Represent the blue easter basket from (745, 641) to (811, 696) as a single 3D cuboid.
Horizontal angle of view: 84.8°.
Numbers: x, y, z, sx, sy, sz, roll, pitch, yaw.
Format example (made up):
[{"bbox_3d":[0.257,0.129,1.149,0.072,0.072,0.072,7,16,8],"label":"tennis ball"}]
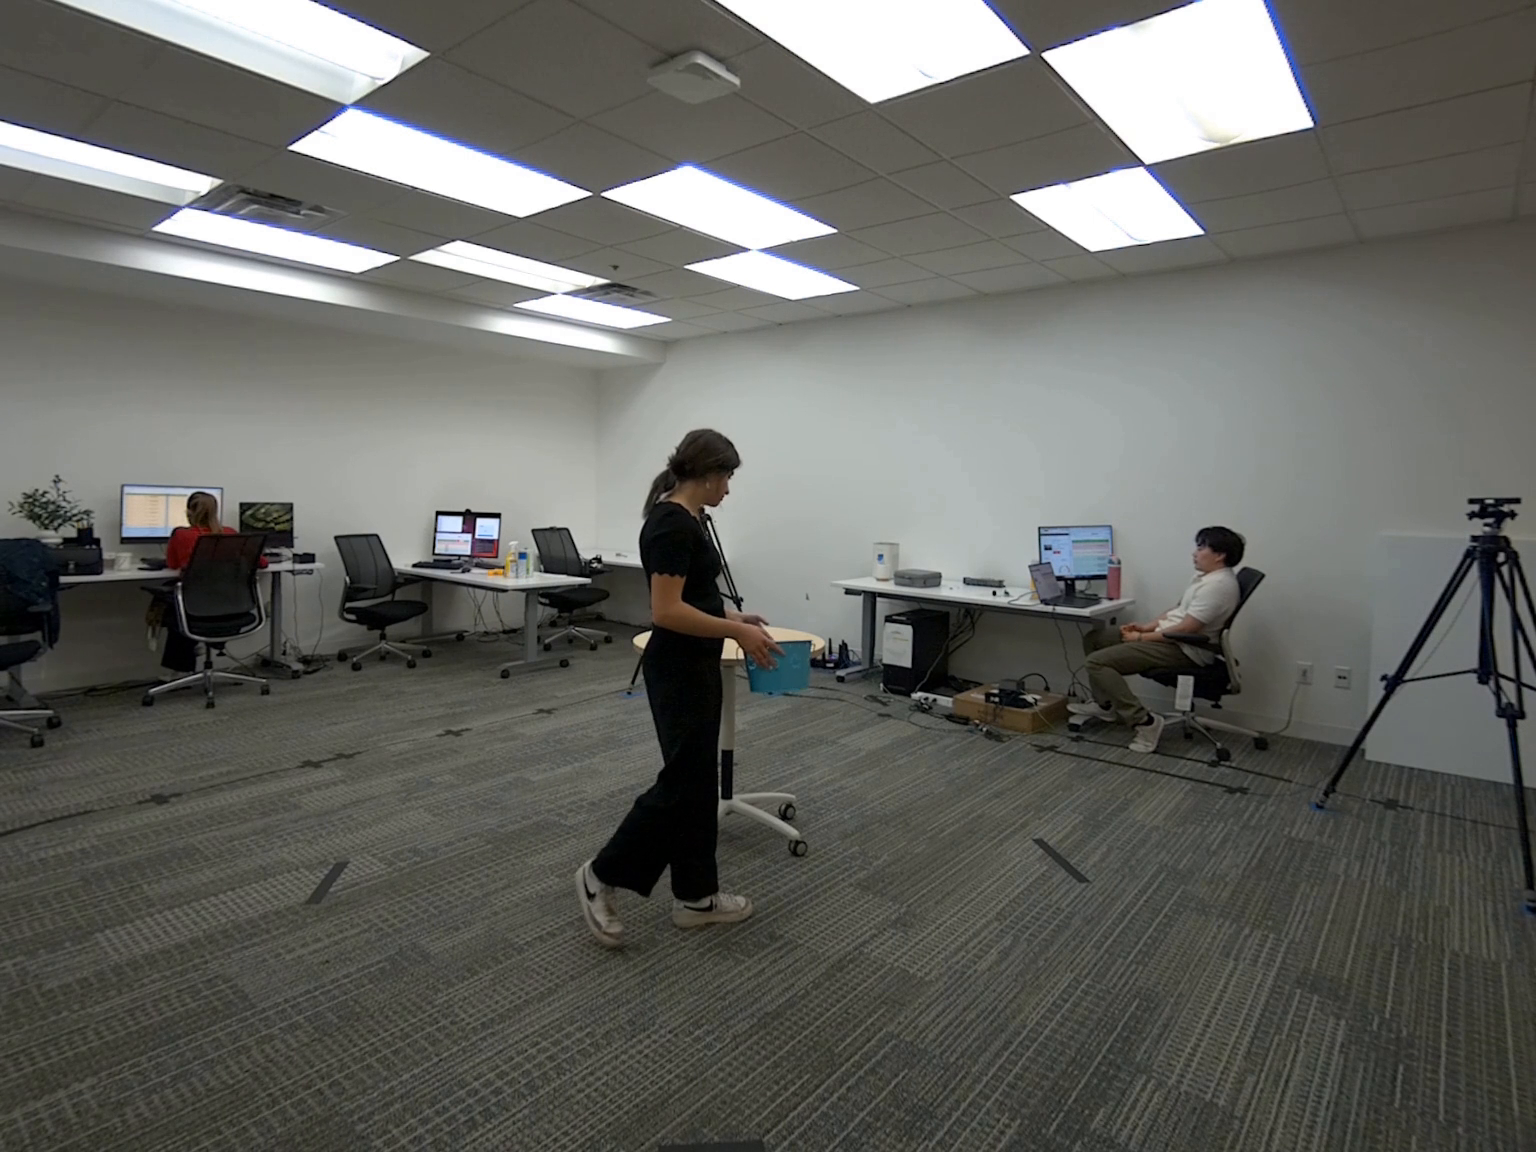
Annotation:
[{"bbox_3d":[0.003,0.283,2.661,0.243,0.156,0.243,-3,-2,-2],"label":"blue easter basket"}]
